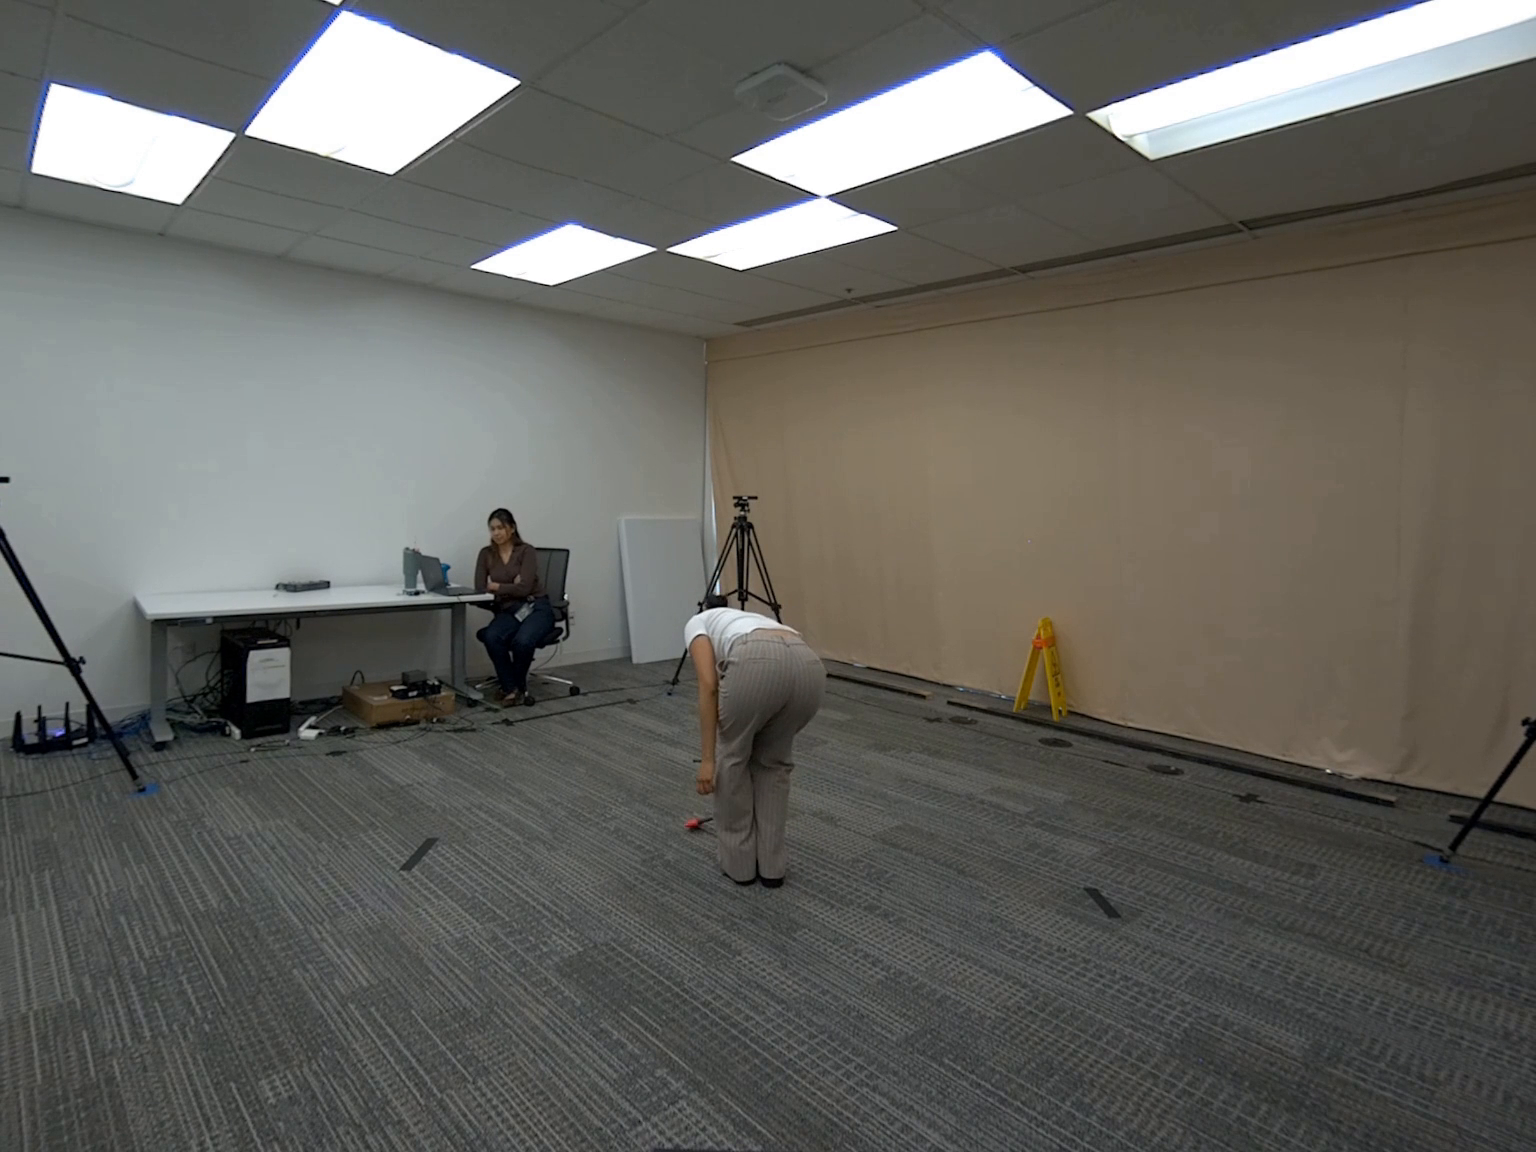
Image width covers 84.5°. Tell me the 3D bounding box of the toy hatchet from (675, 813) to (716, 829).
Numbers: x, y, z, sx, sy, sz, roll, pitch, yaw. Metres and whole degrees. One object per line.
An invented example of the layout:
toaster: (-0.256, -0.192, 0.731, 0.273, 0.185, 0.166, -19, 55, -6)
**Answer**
toy hatchet: (-0.251, 0.996, 3.468, 0.128, 0.030, 0.273, 2, -18, -40)
